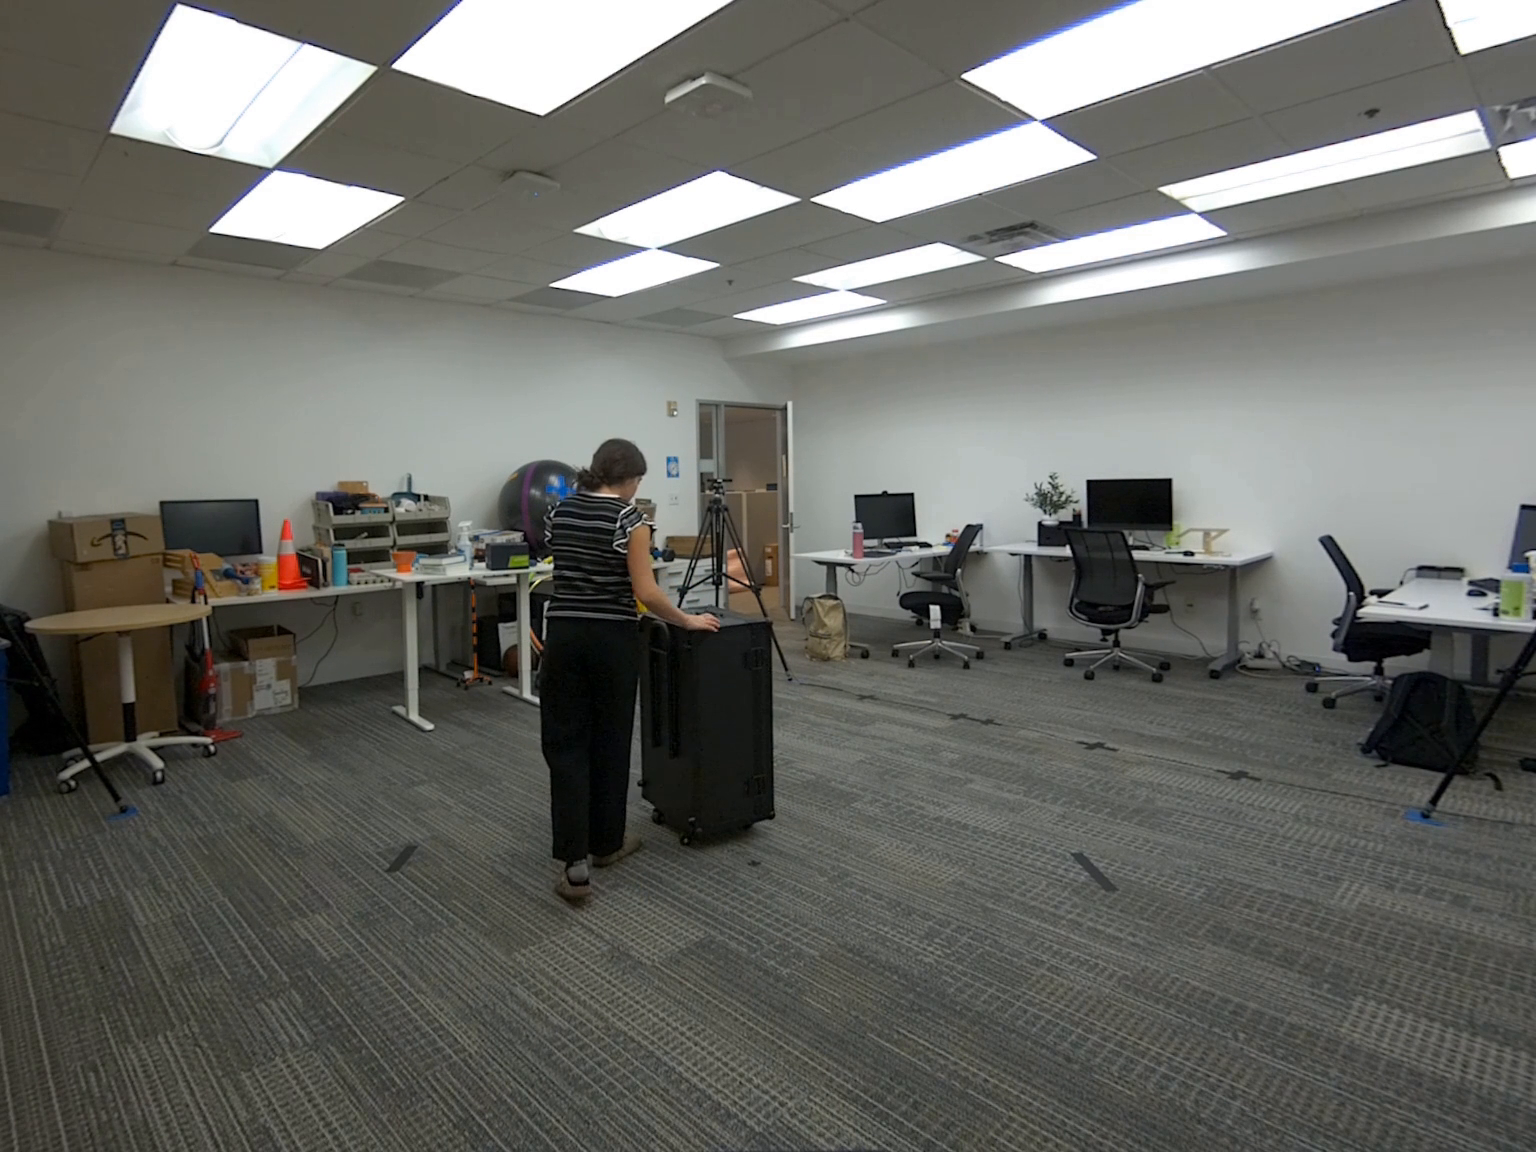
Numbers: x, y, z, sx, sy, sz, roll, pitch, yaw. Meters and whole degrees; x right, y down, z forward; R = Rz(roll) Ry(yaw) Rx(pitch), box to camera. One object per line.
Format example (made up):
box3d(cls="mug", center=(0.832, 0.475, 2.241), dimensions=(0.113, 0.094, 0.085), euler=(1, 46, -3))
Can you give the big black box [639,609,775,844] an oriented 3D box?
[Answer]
box3d(cls="big black box", center=(-0.264, 0.587, 3.430), dimensions=(0.387, 0.858, 0.536), euler=(-4, 5, -32))
